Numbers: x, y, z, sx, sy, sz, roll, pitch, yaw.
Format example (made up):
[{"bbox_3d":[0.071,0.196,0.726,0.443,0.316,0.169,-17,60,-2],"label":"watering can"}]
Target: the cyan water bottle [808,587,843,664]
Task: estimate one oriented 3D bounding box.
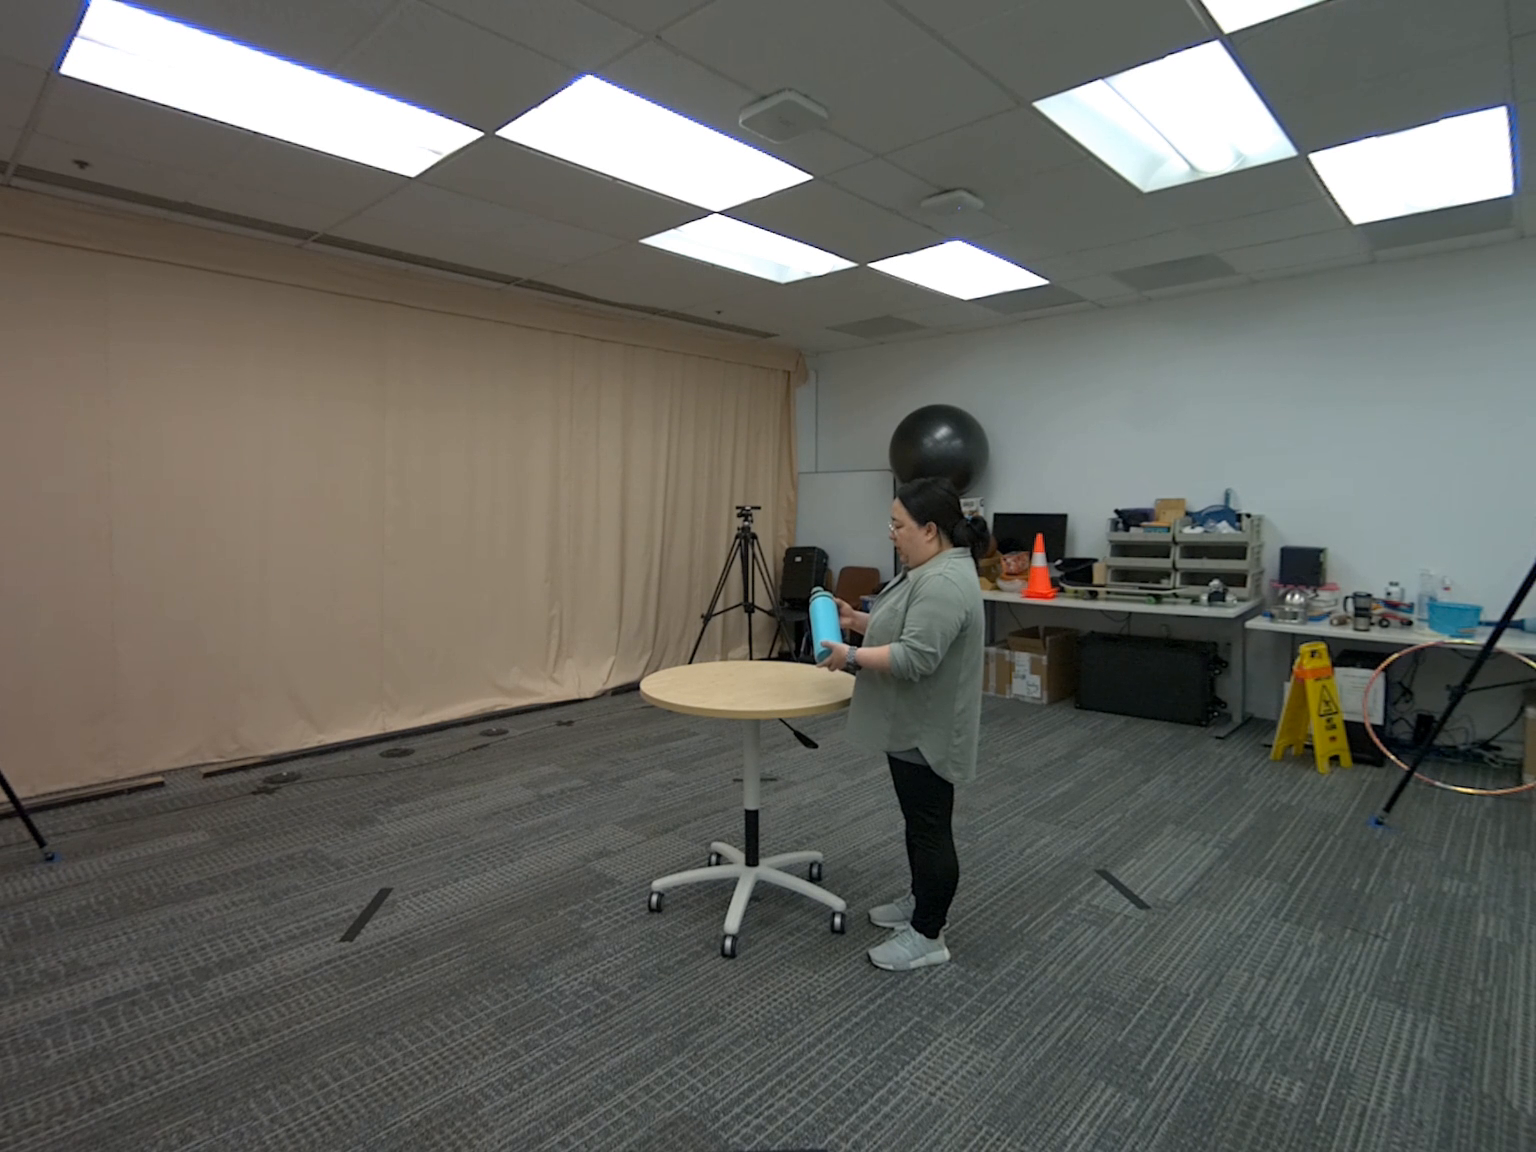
[{"bbox_3d":[0.196,0.160,2.660,0.092,0.090,0.288,-1,42,0],"label":"cyan water bottle"}]
